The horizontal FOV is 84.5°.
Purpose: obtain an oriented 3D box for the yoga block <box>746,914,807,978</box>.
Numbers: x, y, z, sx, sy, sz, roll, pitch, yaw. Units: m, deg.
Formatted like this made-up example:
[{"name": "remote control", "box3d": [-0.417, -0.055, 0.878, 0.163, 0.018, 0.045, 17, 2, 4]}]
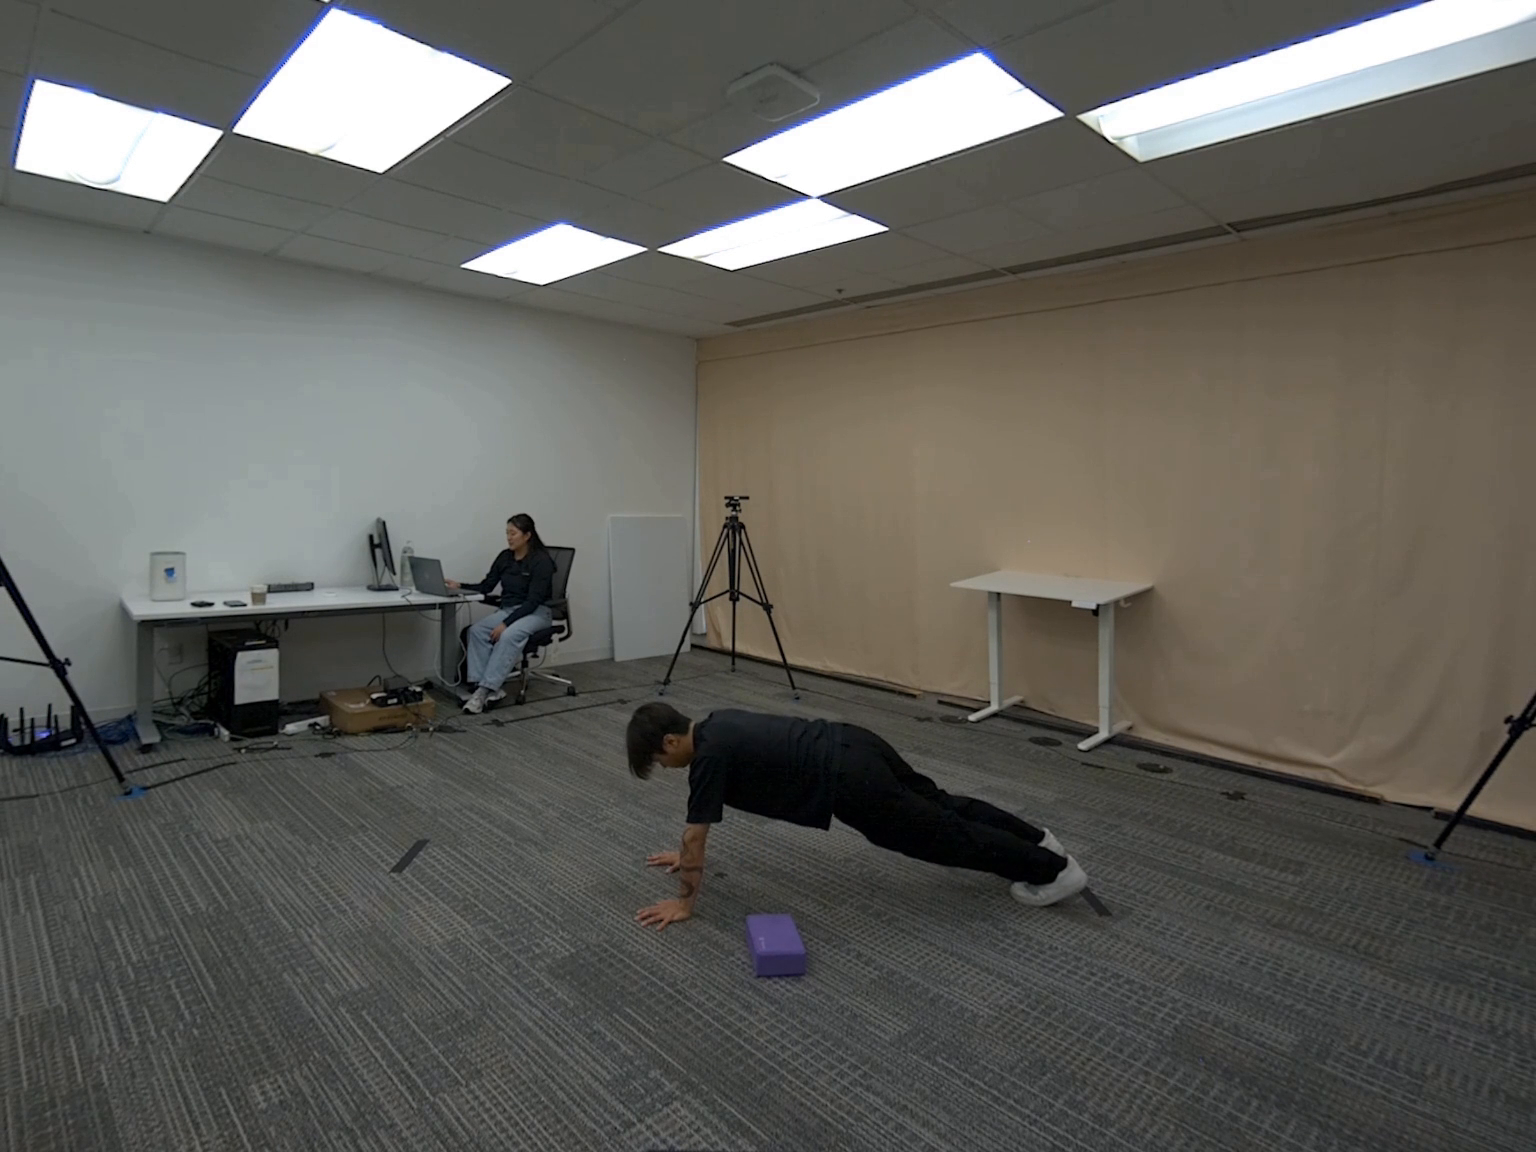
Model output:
[{"name": "yoga block", "box3d": [0.013, 1.120, 2.554, 0.148, 0.076, 0.232, 0, 6, -9]}]
